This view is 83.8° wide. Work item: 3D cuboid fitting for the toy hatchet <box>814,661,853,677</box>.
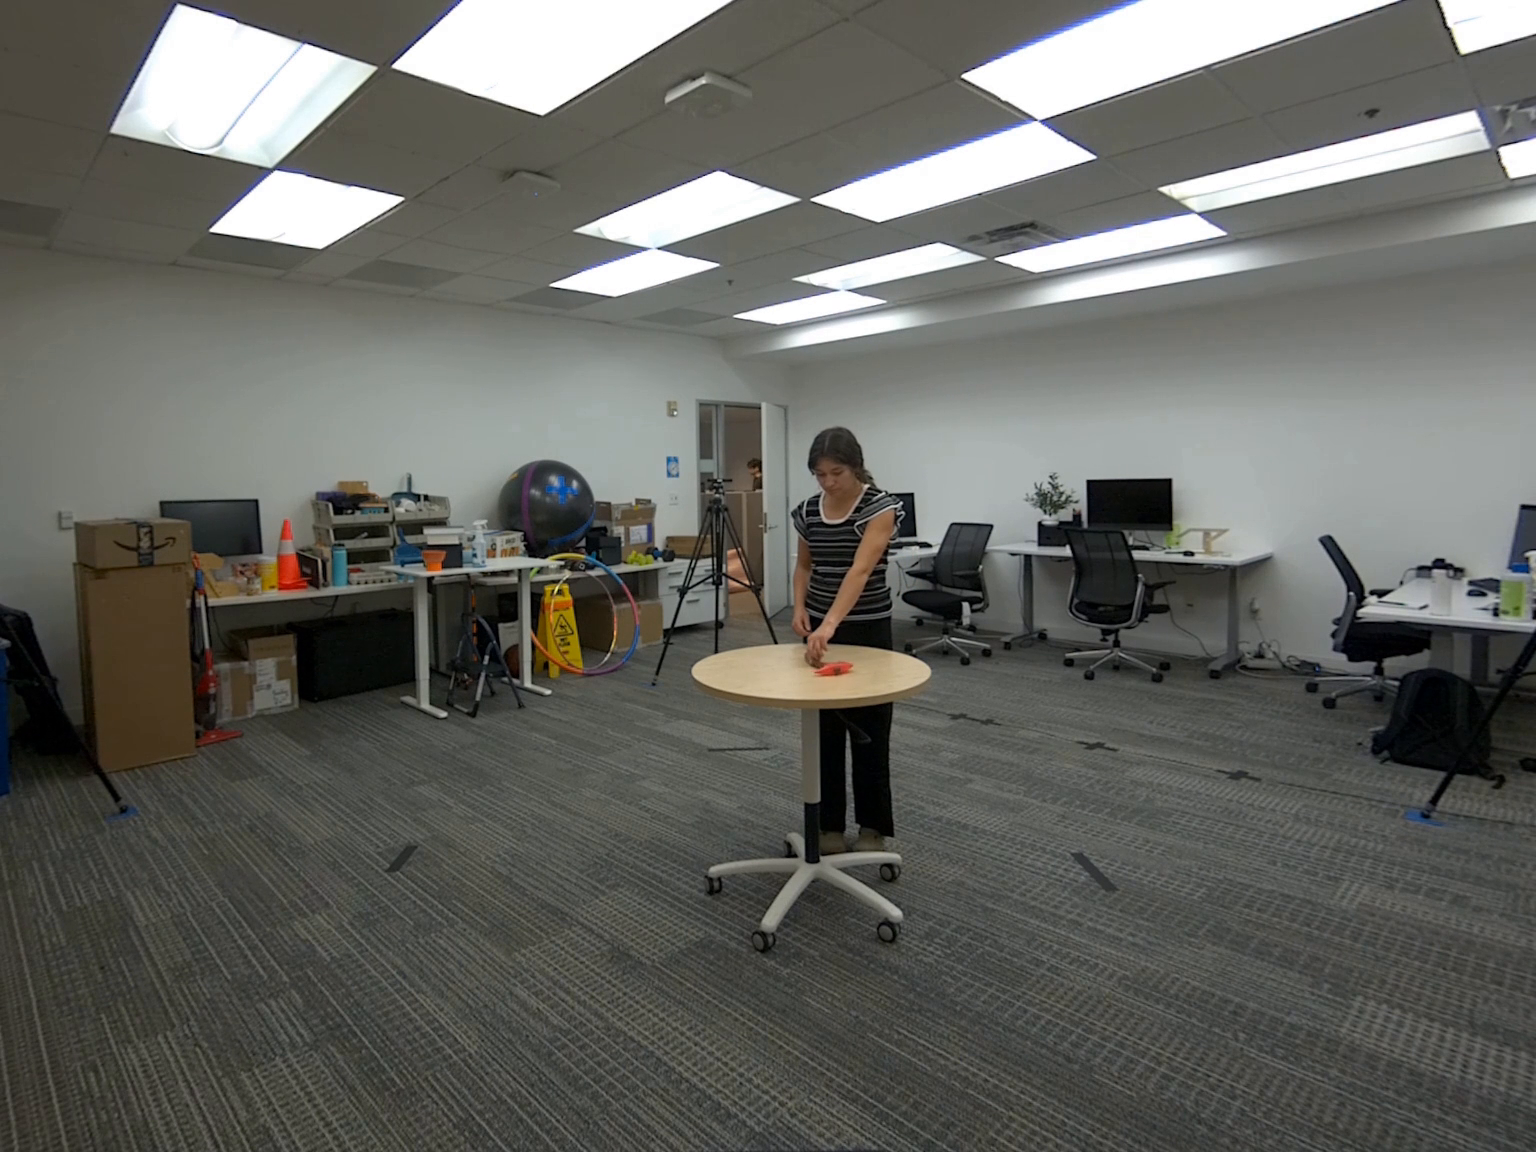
[{"bbox_3d":[0.203,0.280,2.778,0.131,0.029,0.271,-9,7,0],"label":"toy hatchet"}]
